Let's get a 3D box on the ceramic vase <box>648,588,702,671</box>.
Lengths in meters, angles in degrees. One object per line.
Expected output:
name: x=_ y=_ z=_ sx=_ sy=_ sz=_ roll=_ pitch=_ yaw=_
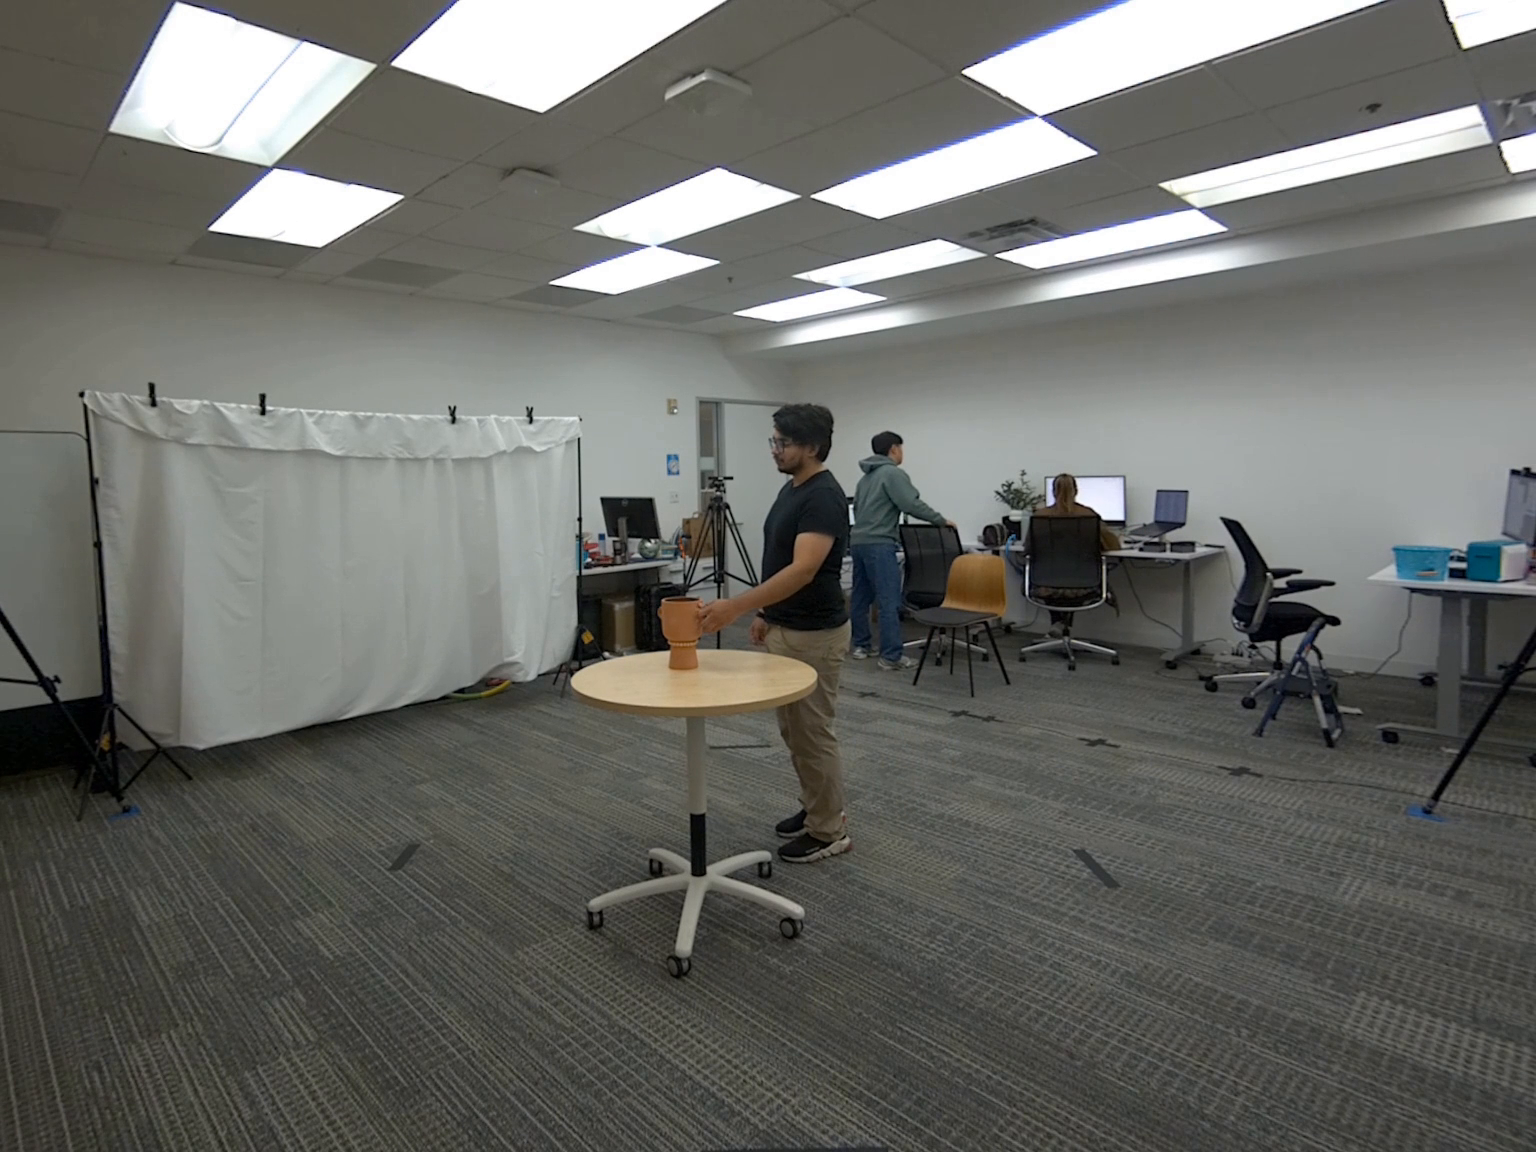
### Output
ceramic vase: x=-0.276 y=0.189 z=2.779 sx=0.132 sy=0.219 sz=0.162 roll=-2 pitch=4 yaw=-19
